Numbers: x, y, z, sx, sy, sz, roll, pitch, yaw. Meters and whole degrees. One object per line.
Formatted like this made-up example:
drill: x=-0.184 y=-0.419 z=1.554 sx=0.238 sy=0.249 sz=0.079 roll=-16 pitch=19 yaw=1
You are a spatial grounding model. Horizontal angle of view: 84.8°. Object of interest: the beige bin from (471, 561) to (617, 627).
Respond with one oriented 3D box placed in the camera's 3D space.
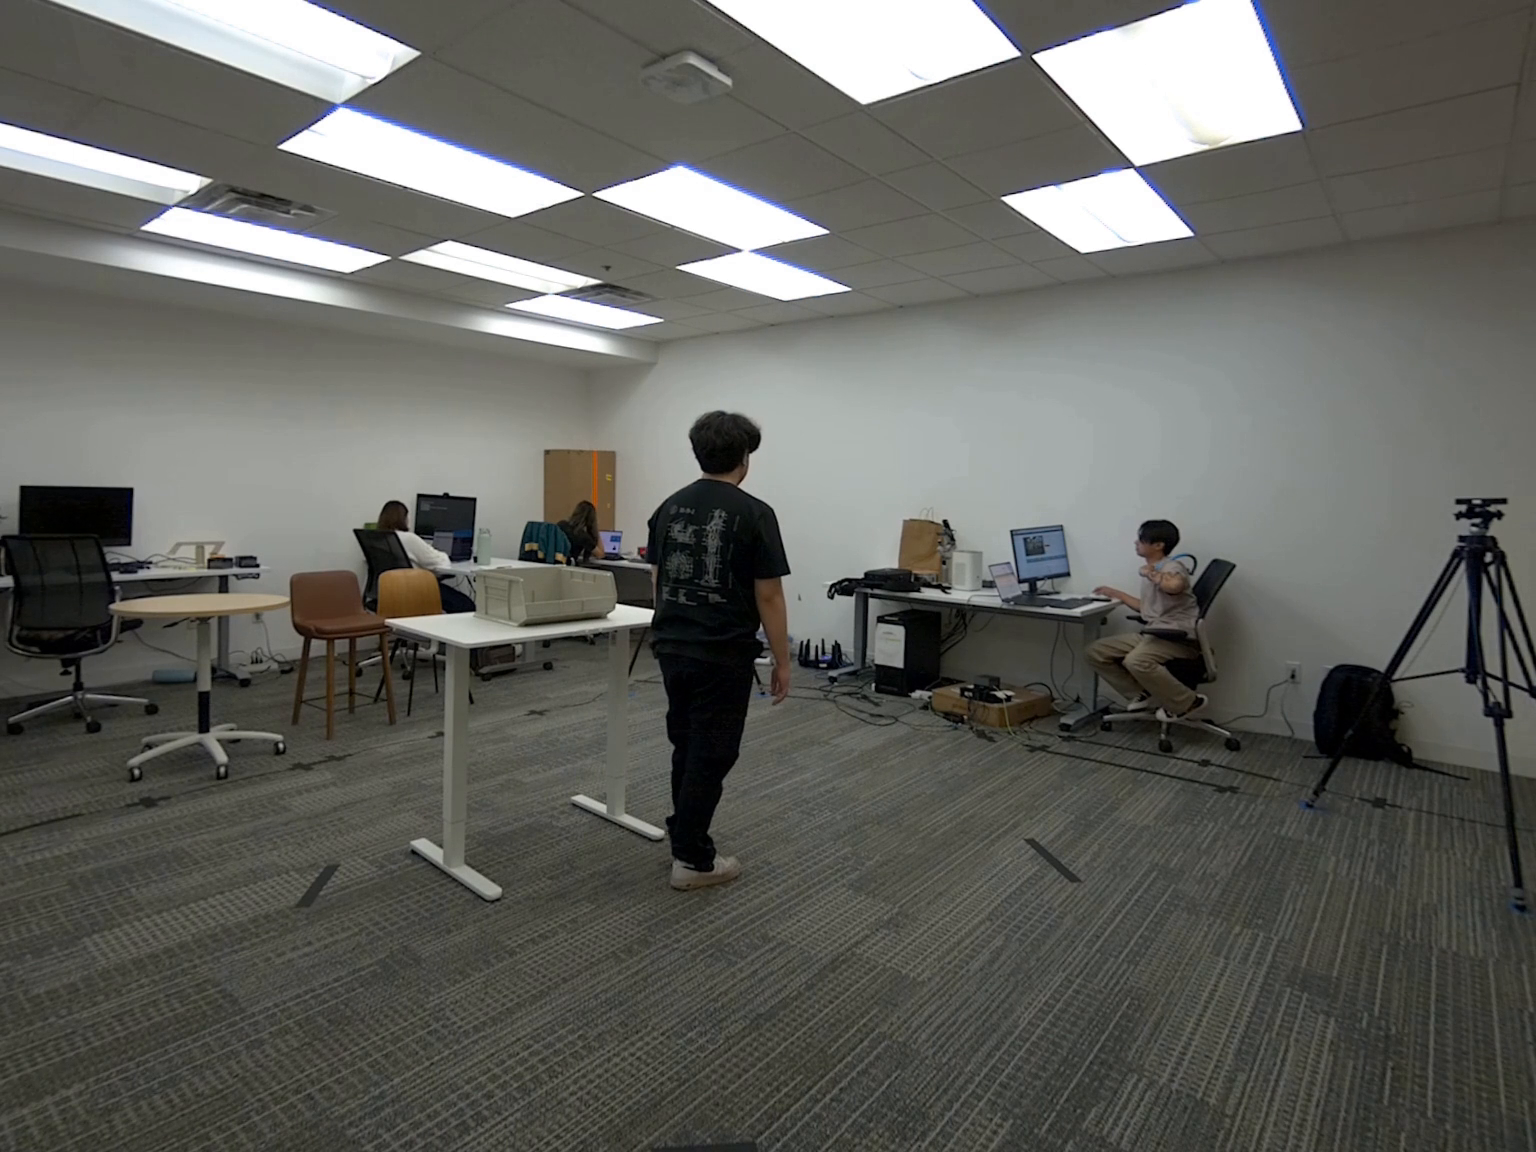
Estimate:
beige bin: x=-0.876 y=0.073 z=3.286 sx=0.390 sy=0.188 sz=0.409 roll=5 pitch=6 yaw=43
